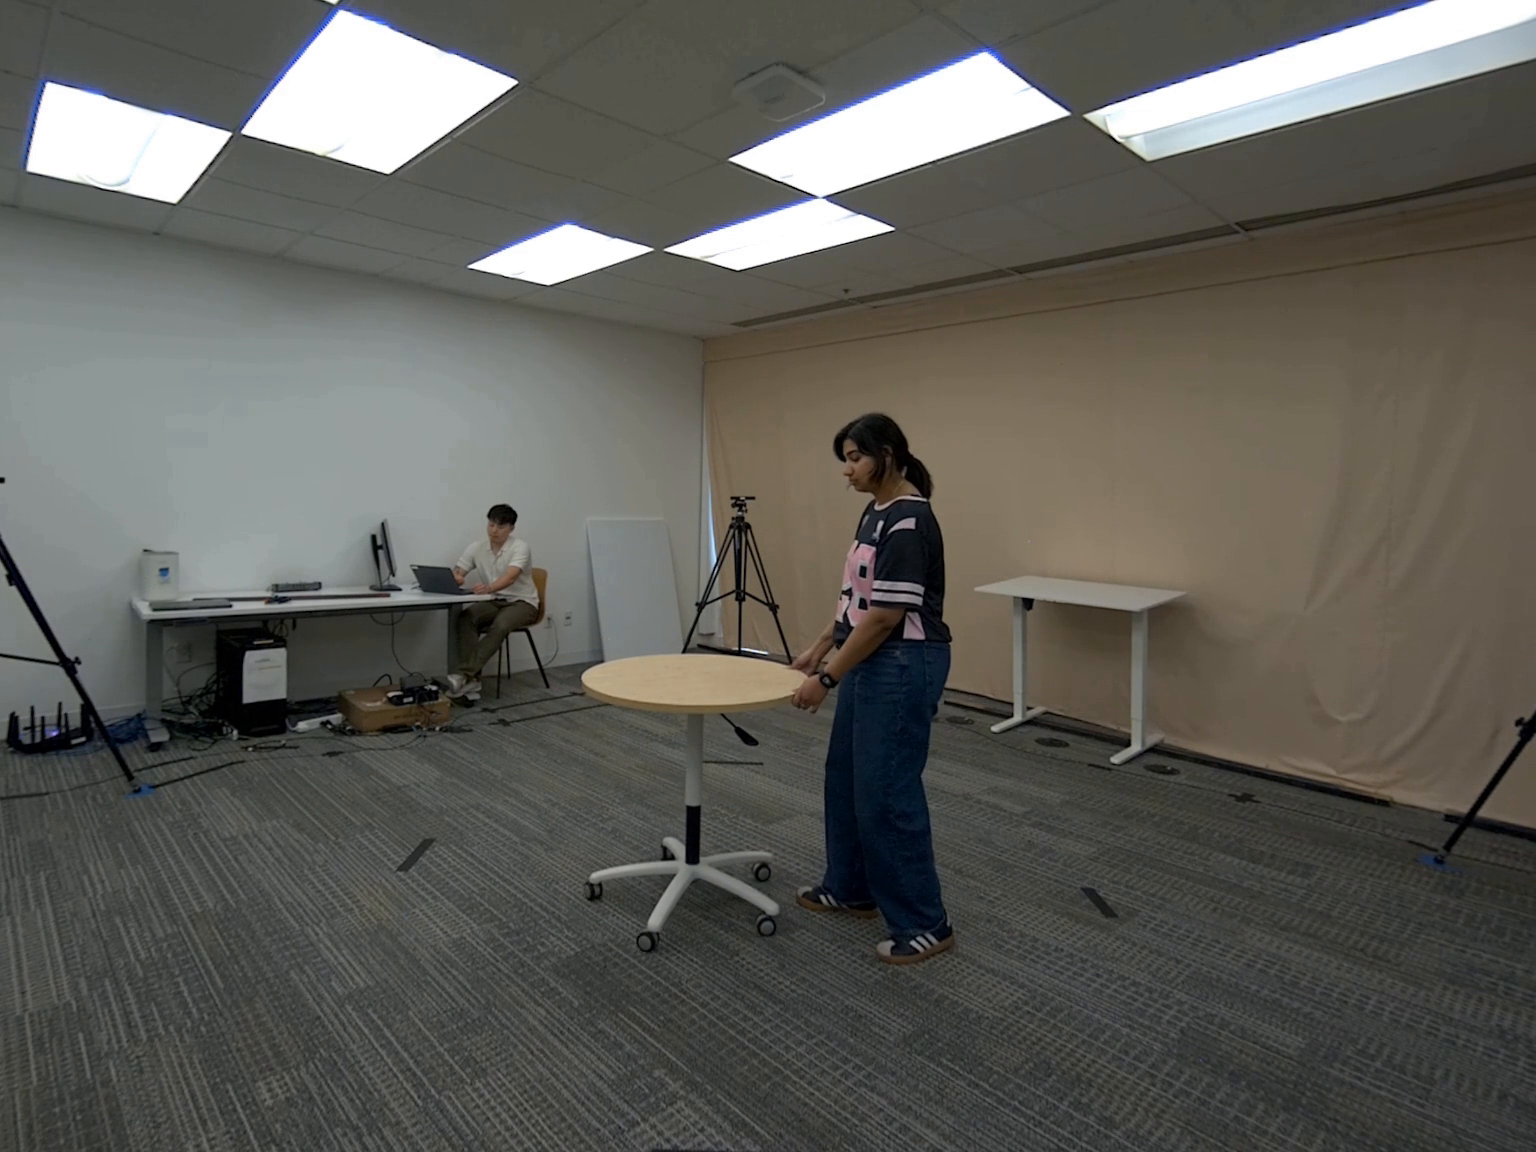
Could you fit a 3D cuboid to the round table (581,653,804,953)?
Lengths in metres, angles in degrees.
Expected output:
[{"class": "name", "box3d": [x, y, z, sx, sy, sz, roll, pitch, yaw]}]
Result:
[{"class": "round table", "box3d": [-0.257, 0.731, 2.876, 0.763, 0.791, 0.767, 1, 5, -1]}]
